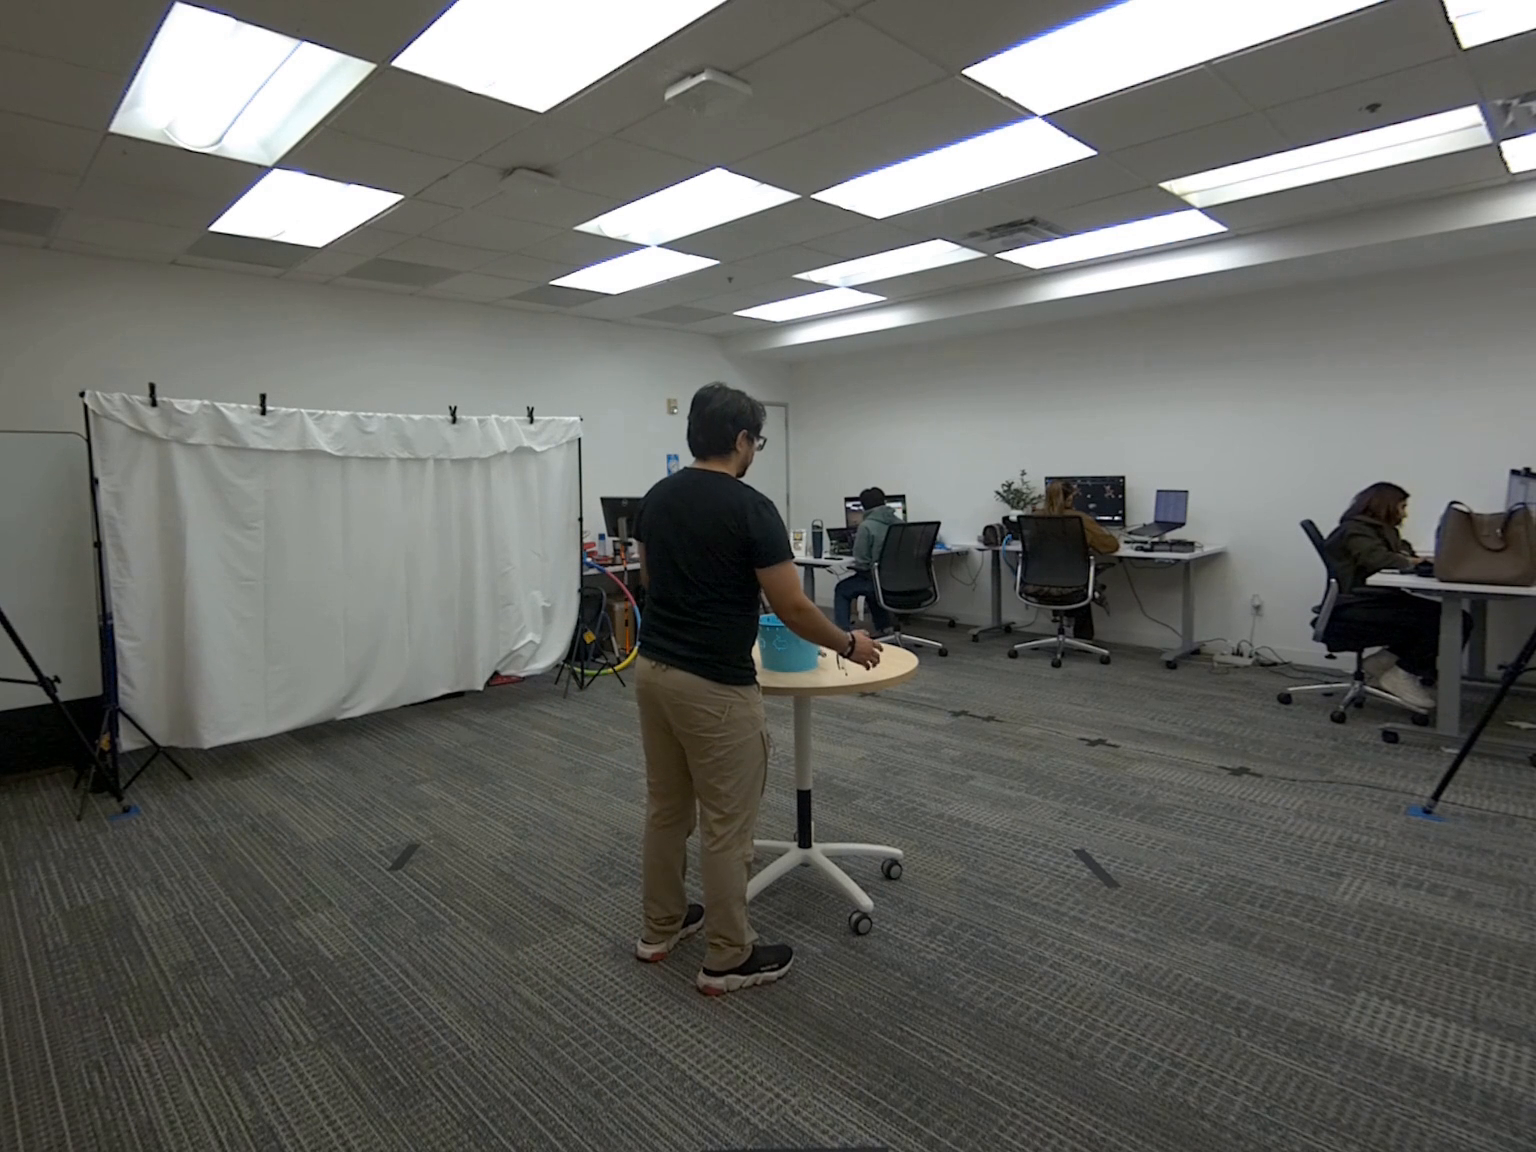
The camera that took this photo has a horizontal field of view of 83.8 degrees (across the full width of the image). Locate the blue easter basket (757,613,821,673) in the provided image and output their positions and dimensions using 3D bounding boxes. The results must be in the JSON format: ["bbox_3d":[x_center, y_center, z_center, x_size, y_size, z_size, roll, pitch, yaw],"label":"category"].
[{"bbox_3d":[0.082,0.218,2.759,0.243,0.155,0.245,-2,7,-1],"label":"blue easter basket"}]
